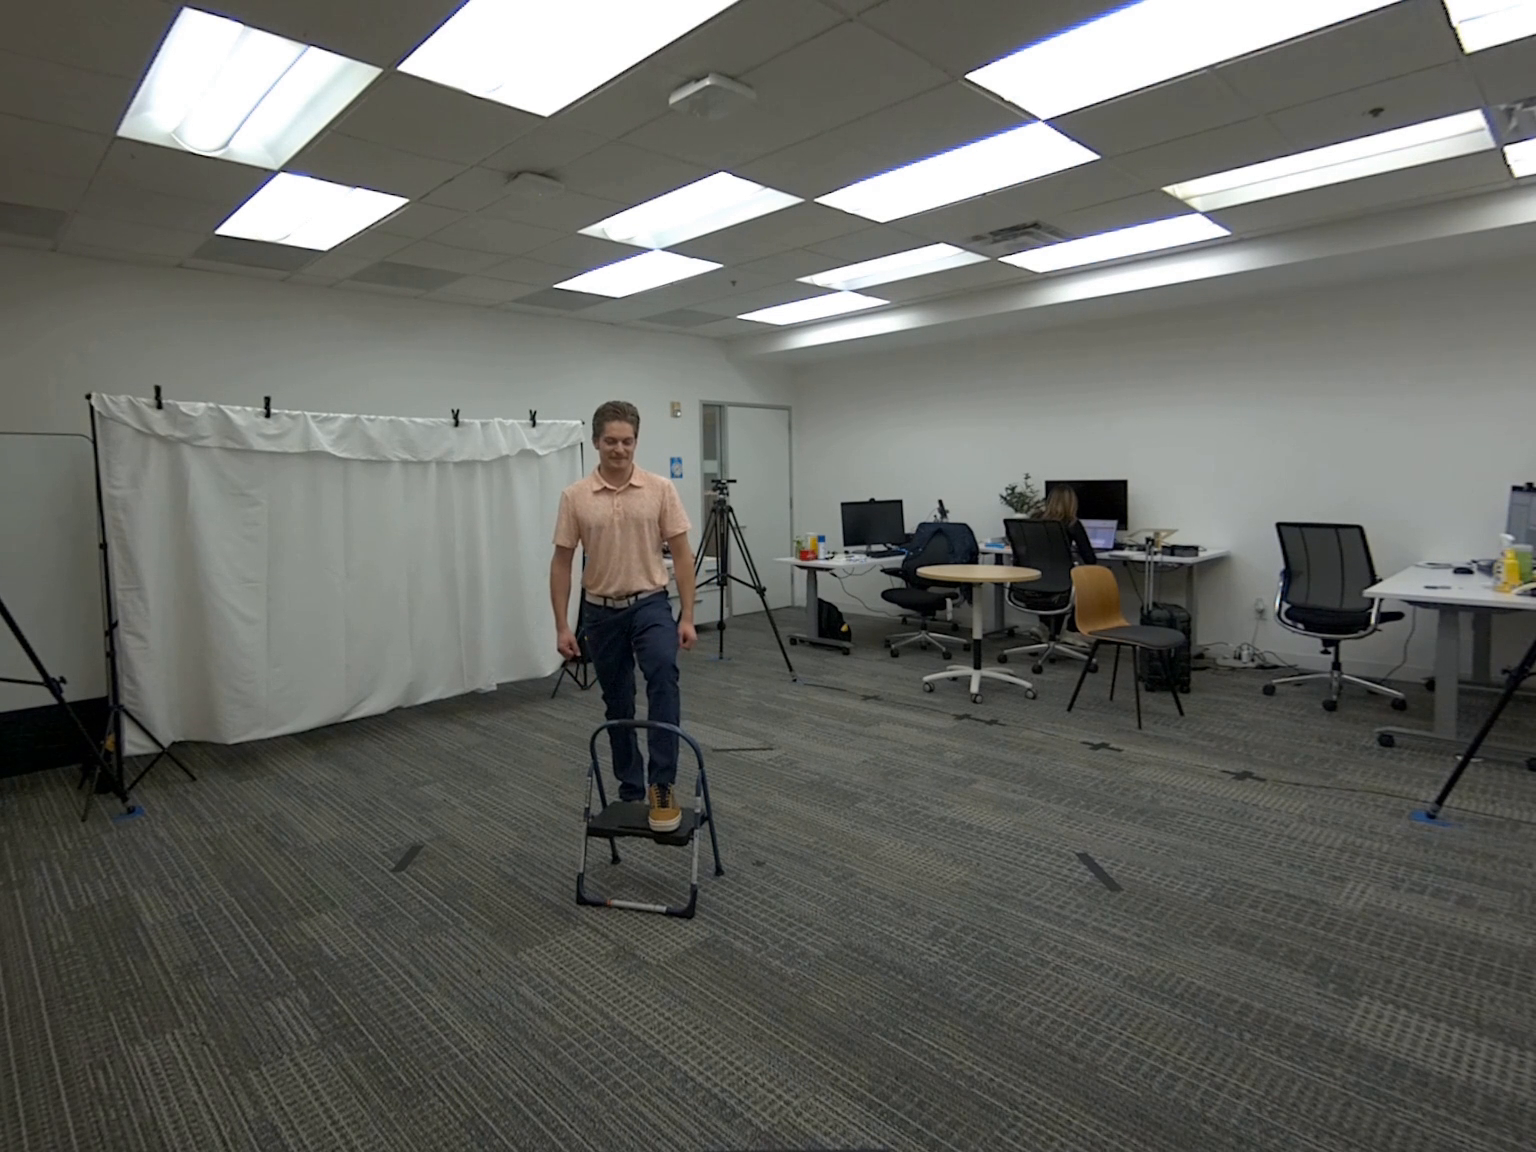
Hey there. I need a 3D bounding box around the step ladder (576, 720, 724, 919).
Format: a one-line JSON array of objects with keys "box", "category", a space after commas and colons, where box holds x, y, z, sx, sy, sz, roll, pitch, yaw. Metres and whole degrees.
[{"box": [-0.404, 0.775, 2.921, 0.437, 0.604, 0.345, 0, 4, 14], "category": "step ladder"}]
